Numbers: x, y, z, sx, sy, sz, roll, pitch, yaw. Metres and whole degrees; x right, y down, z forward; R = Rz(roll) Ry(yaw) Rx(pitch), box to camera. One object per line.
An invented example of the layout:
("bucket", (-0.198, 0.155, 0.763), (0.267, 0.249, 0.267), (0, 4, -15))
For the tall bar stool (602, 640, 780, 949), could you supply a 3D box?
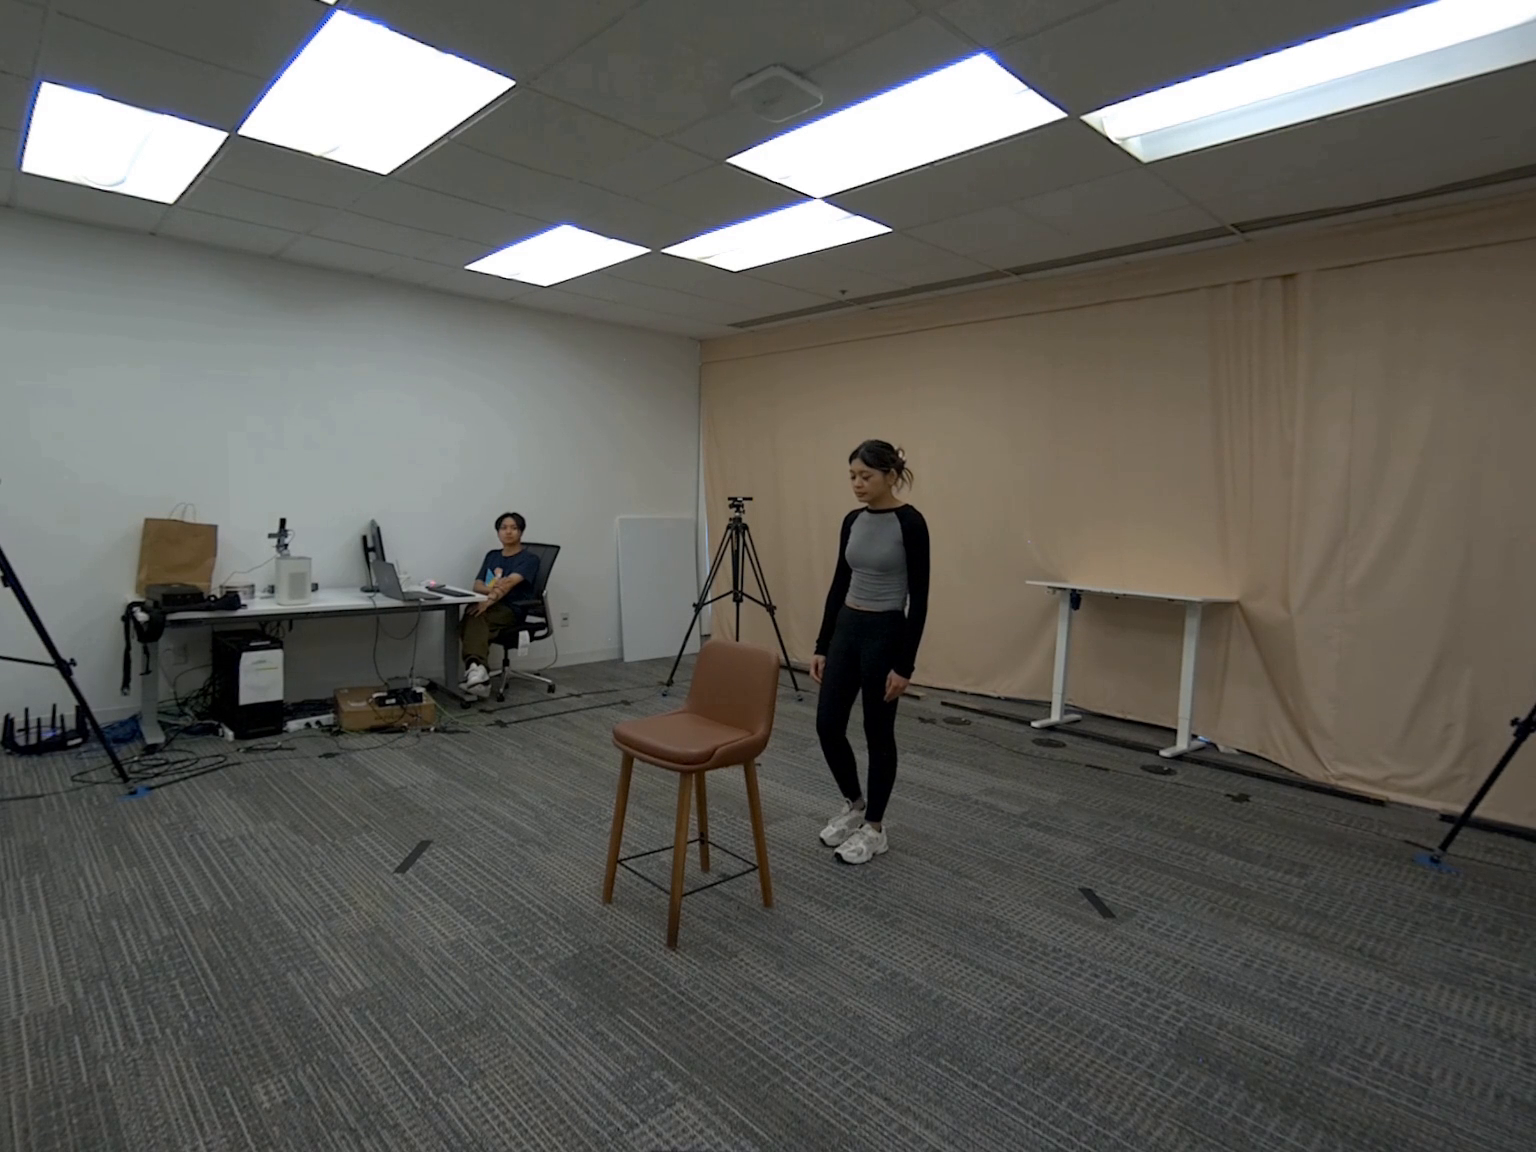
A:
("tall bar stool", (-0.259, 0.694, 2.854), (0.456, 0.888, 0.468), (0, 3, -42))
